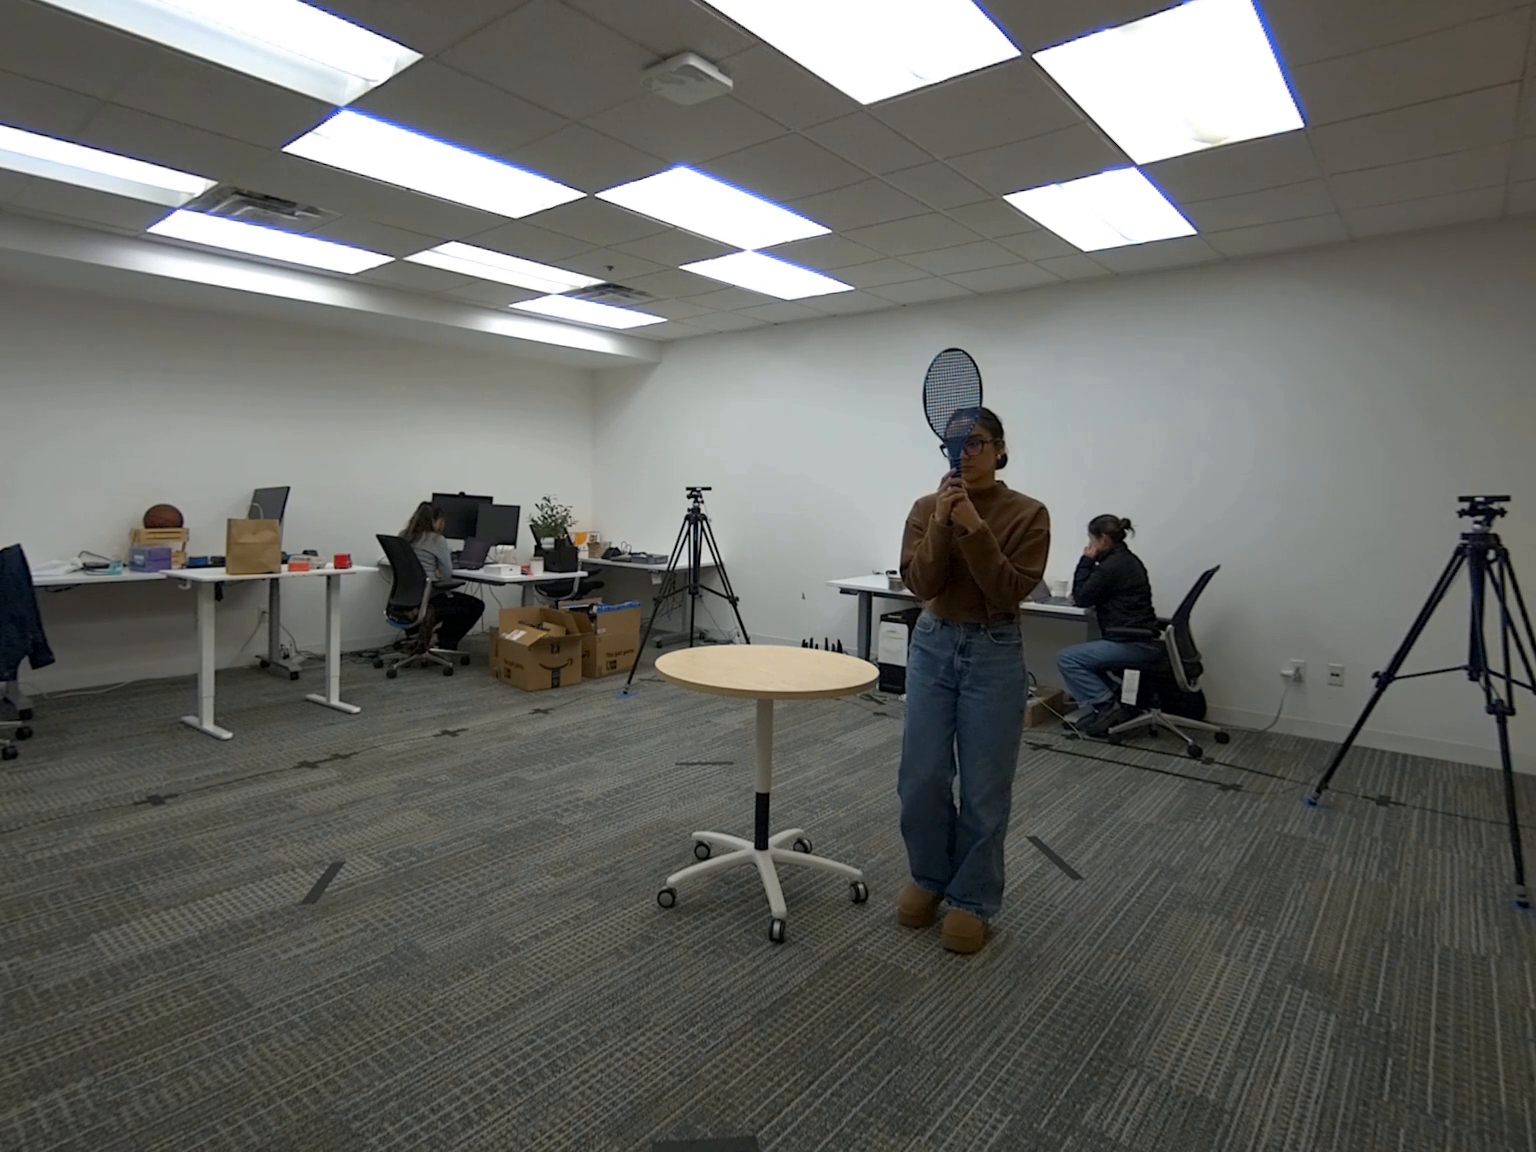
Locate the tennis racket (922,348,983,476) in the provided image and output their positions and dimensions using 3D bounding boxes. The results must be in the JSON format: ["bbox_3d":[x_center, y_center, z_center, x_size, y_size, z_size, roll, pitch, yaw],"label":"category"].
[{"bbox_3d":[0.523,-0.445,2.460,0.210,0.426,0.033,-16,16,-25],"label":"tennis racket"}]
